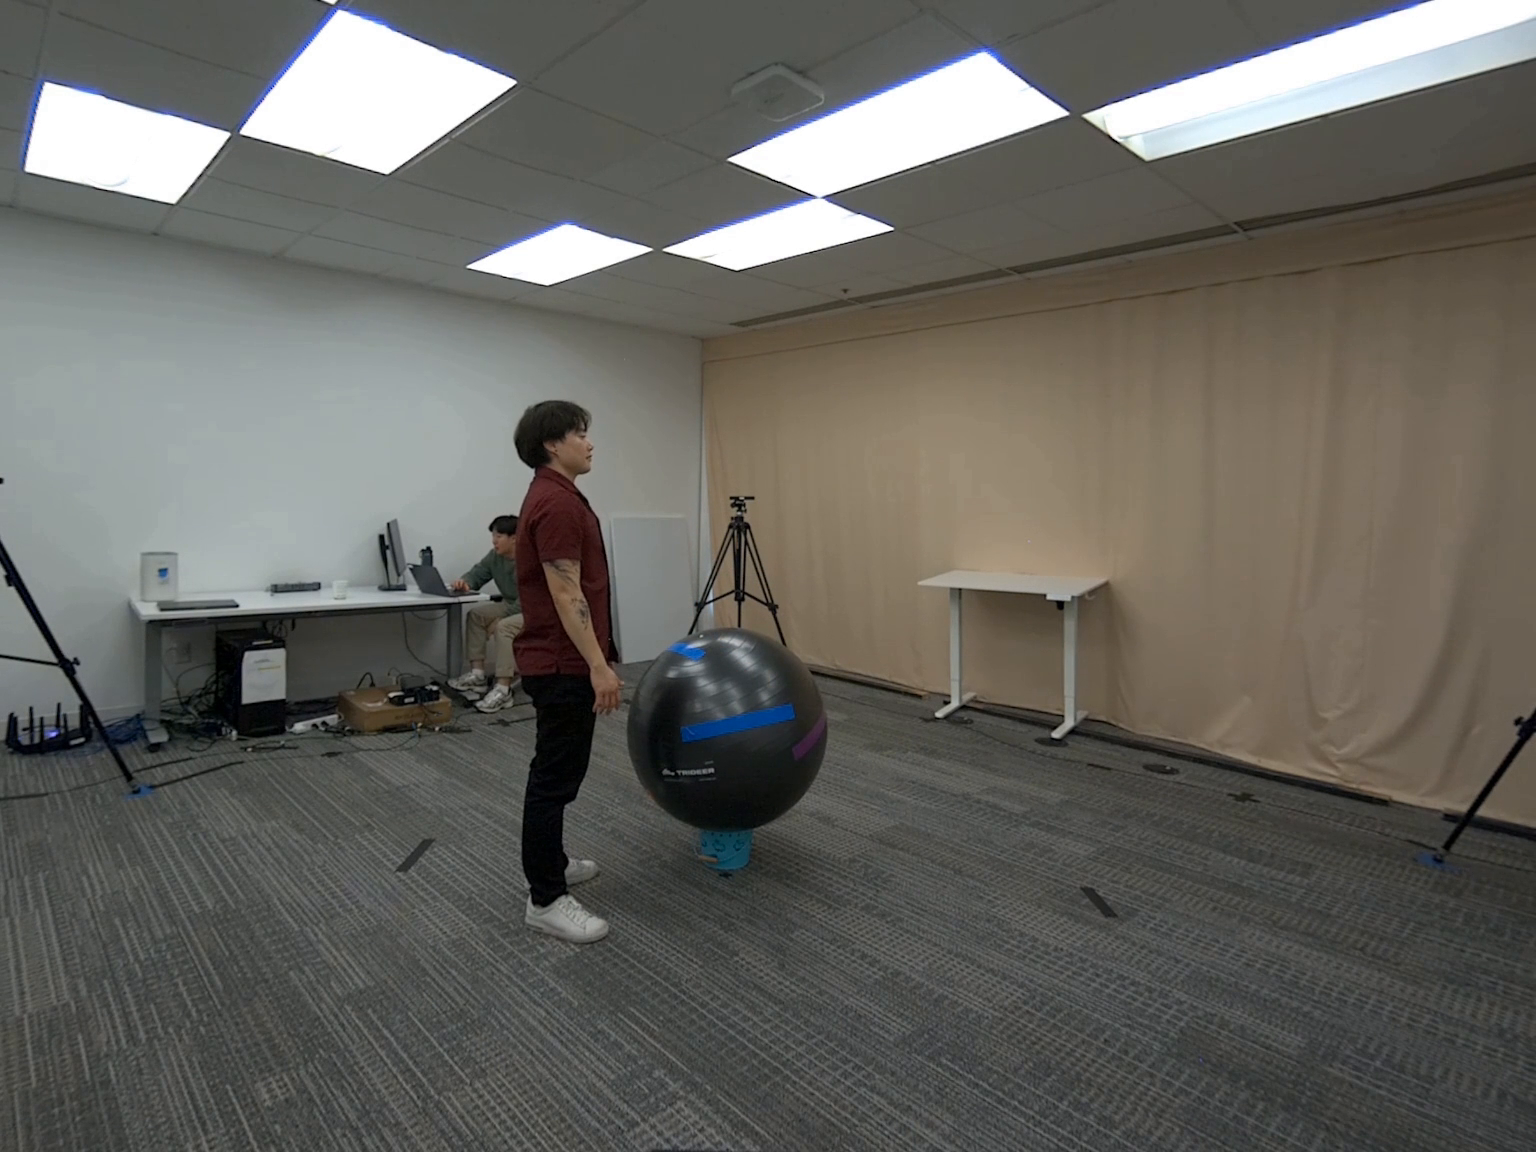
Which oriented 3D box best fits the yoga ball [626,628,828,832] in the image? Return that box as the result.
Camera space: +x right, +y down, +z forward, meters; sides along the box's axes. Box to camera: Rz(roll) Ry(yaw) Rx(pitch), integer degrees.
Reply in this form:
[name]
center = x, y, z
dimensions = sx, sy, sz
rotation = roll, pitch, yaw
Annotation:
[yoga ball]
center = -0.160, 0.579, 3.206
dimensions = 0.757, 0.756, 0.761
rotation = 1, 4, -1
